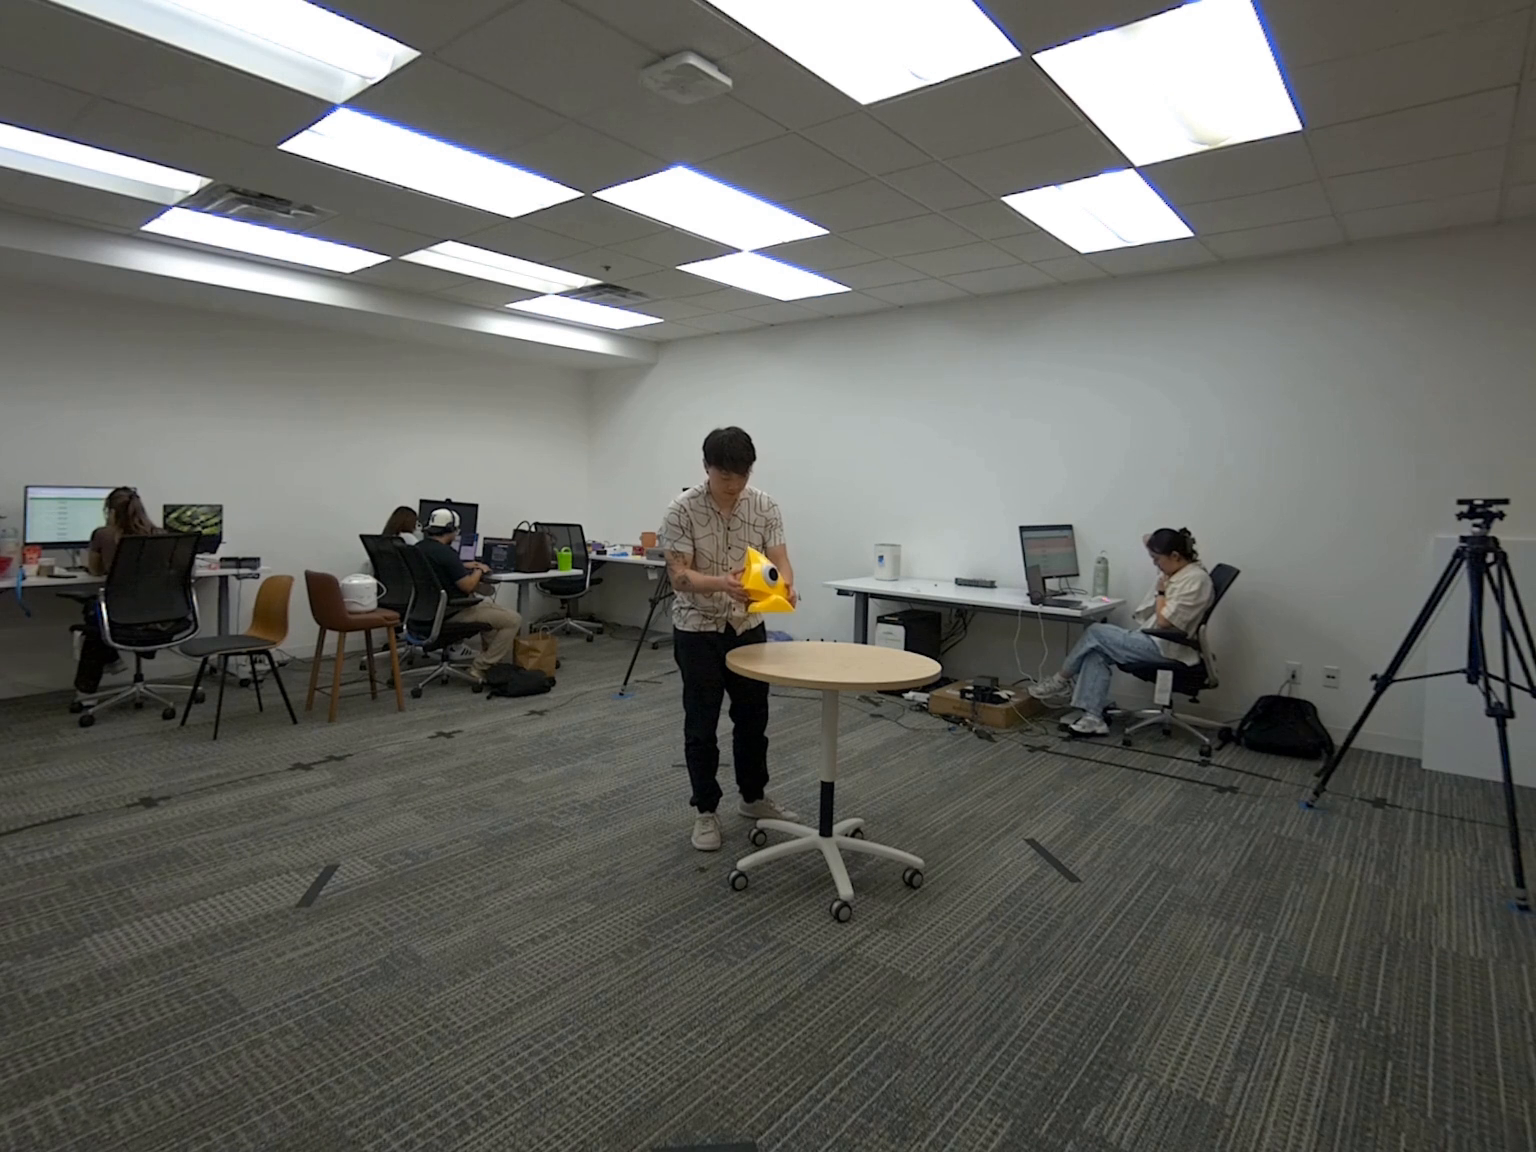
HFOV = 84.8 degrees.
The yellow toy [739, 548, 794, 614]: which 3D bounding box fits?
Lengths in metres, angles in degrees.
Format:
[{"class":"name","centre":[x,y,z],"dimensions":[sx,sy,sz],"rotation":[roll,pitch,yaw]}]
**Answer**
[{"class":"yellow toy","centre":[-0.016,0.011,3.014],"dimensions":[0.190,0.232,0.207],"rotation":[1,-5,-15]}]
